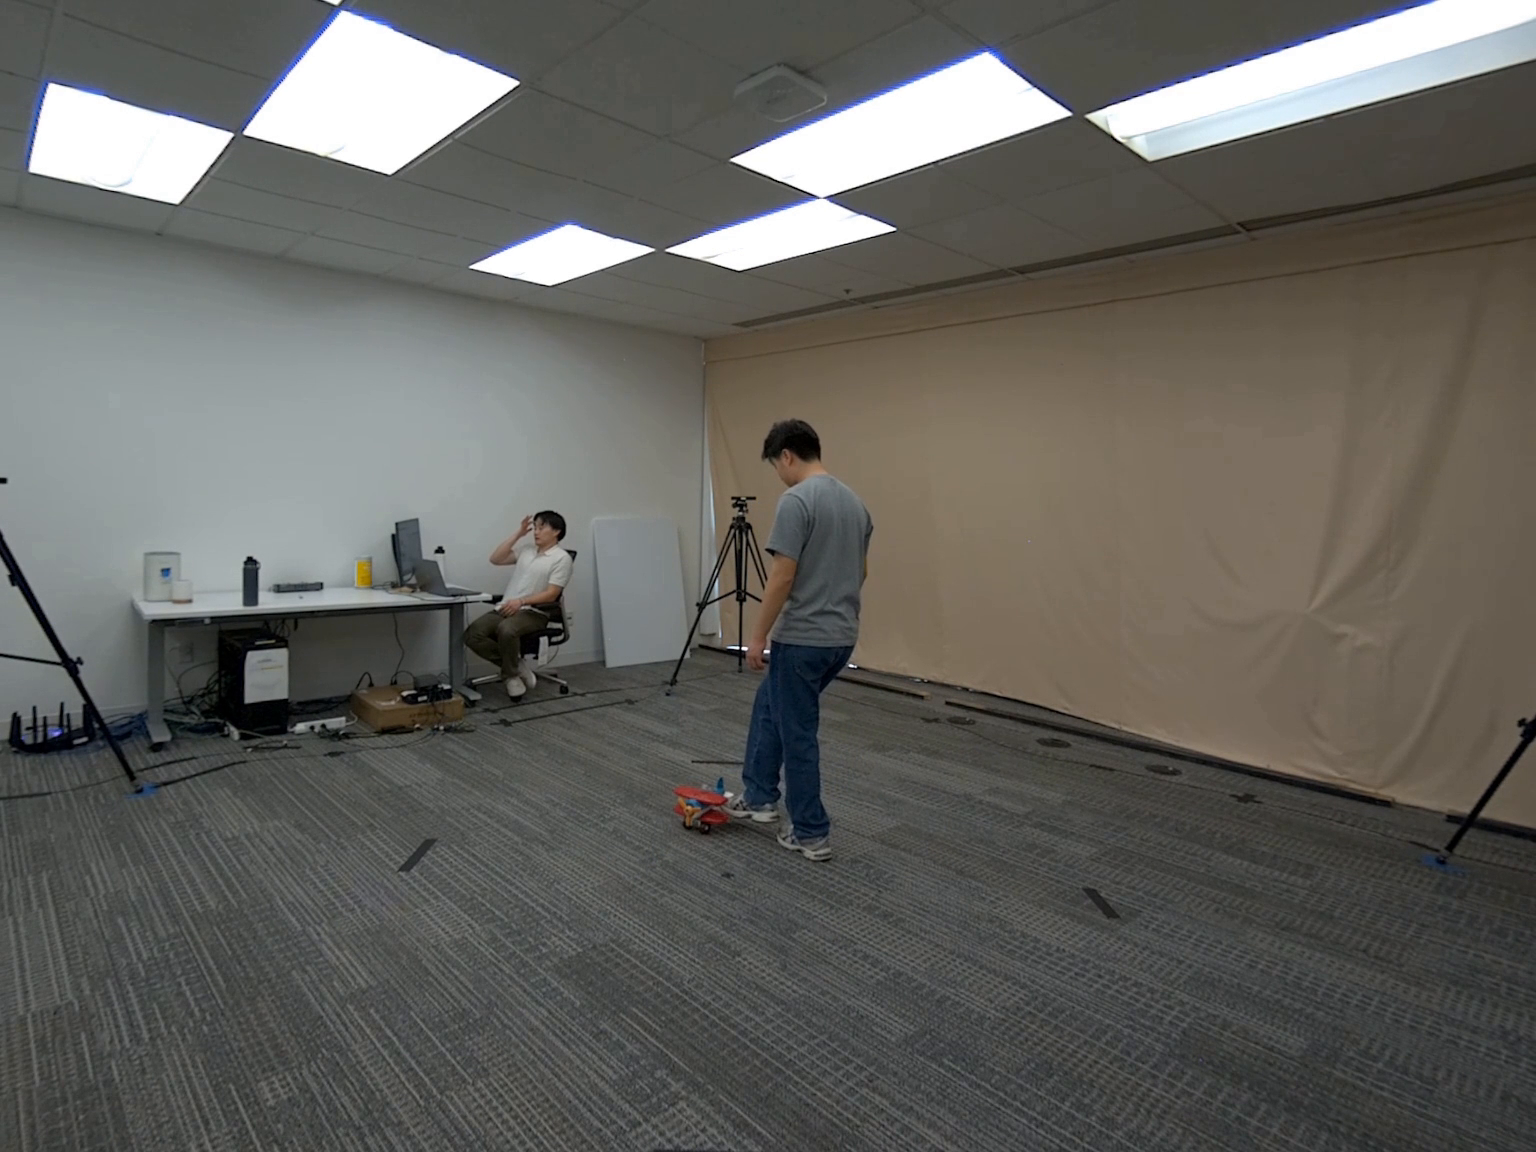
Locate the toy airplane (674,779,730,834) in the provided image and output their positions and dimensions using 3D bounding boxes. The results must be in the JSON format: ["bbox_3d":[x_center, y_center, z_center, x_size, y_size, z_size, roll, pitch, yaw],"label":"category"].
[{"bbox_3d":[-0.283,0.961,3.575,0.252,0.154,0.262,-6,20,6],"label":"toy airplane"}]
